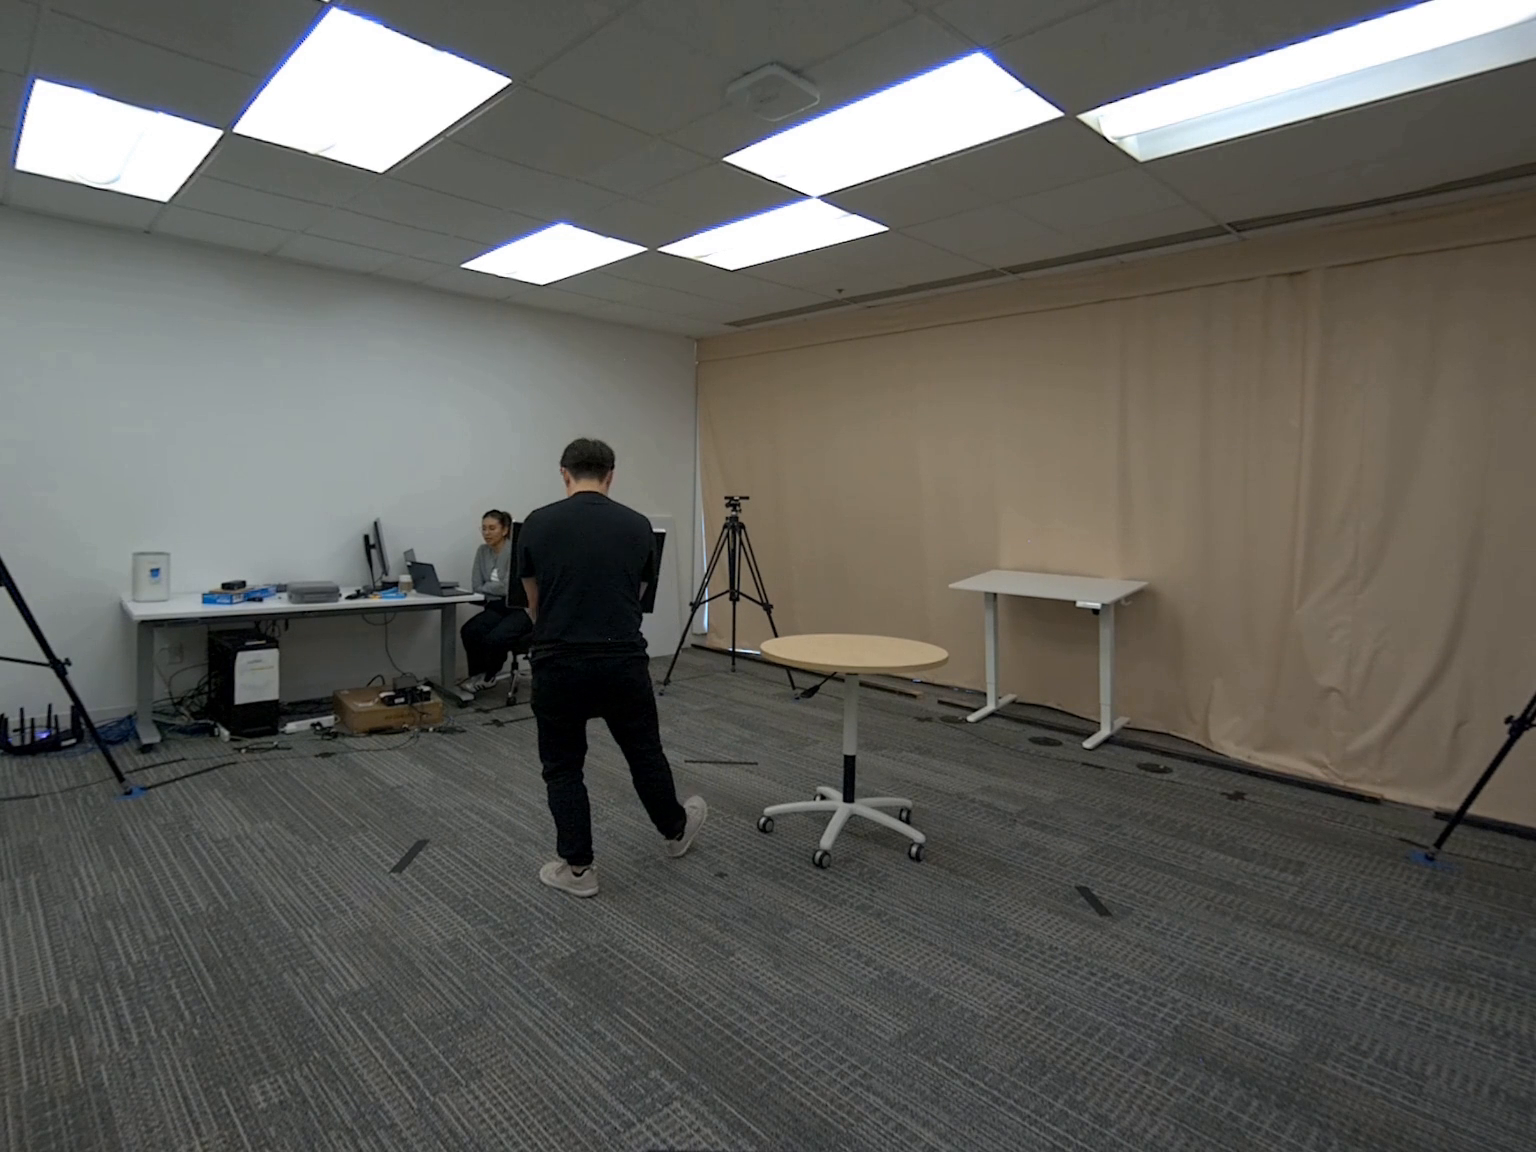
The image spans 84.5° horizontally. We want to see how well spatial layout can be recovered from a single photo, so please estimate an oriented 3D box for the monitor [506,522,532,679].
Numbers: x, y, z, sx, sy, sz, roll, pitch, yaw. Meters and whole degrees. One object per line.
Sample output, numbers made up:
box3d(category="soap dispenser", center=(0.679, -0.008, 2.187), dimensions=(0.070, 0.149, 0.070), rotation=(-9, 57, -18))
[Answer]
box3d(category="monitor", center=(-0.679, 0.071, 3.157), dimensions=(0.532, 0.517, 0.191), rotation=(2, 17, -15))
